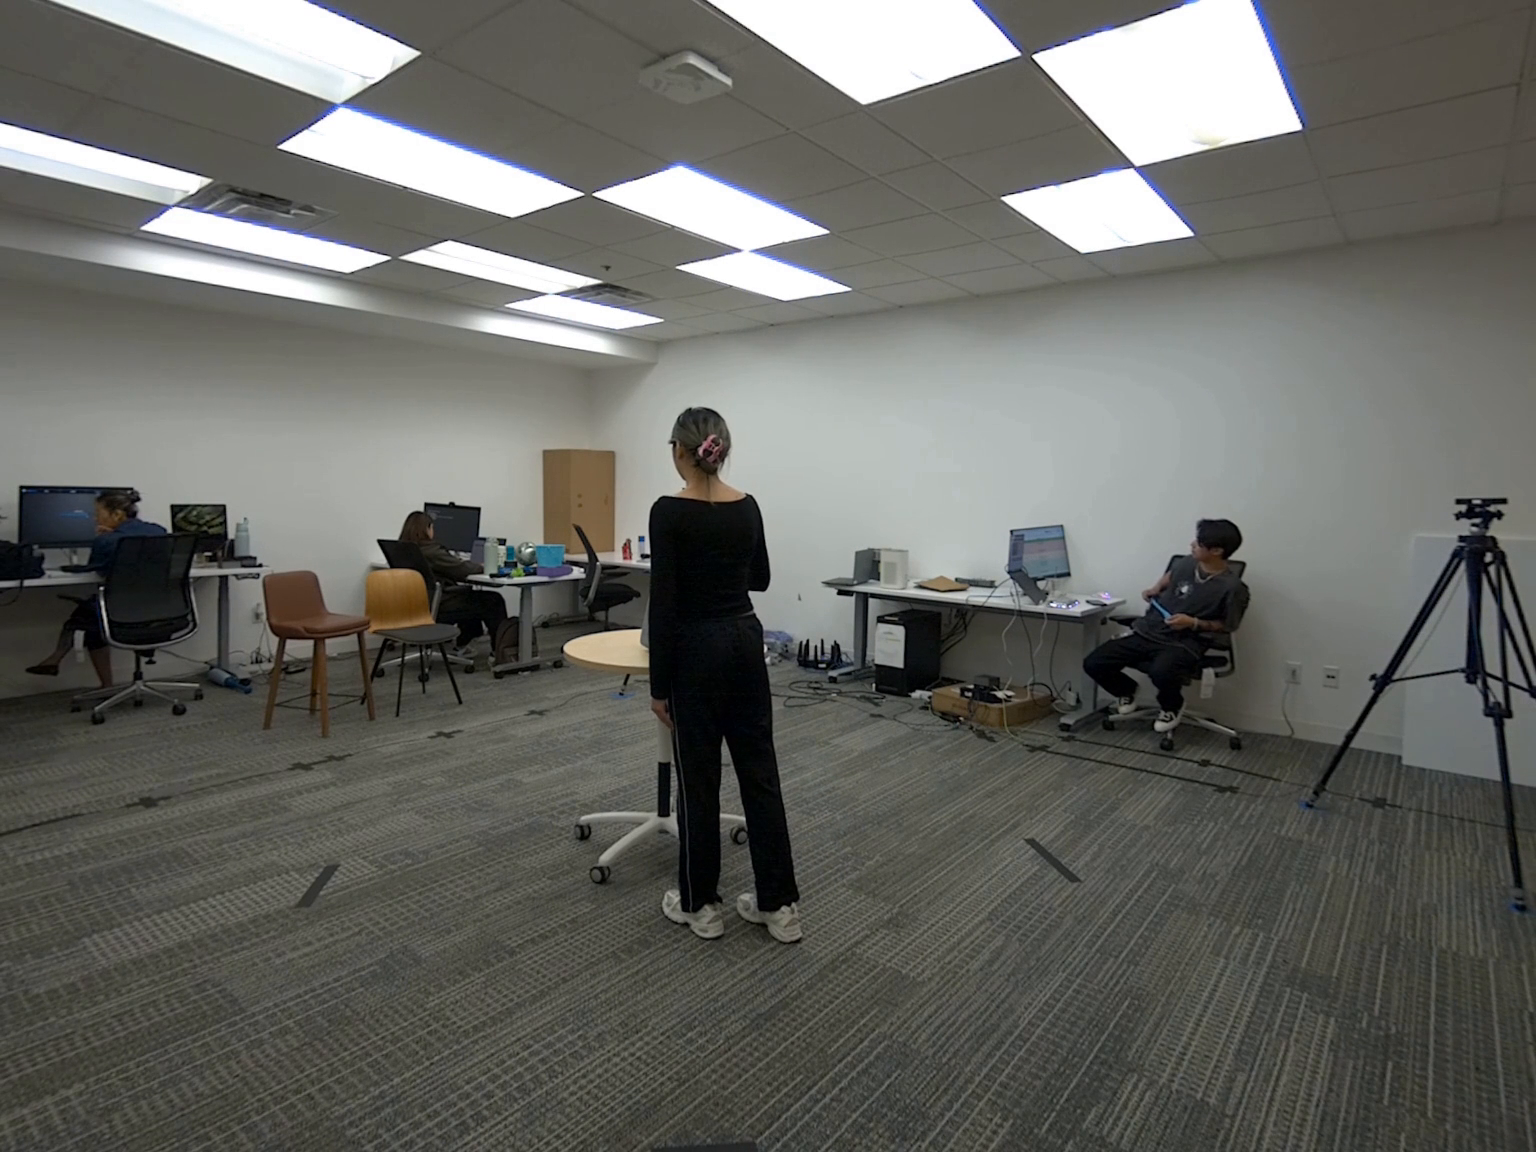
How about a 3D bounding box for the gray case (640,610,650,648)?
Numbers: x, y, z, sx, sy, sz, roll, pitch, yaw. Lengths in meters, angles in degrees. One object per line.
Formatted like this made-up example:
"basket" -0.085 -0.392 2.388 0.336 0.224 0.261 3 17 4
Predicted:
"gray case" -0.342 0.146 3.083 0.100 0.261 0.266 13 -5 -43
